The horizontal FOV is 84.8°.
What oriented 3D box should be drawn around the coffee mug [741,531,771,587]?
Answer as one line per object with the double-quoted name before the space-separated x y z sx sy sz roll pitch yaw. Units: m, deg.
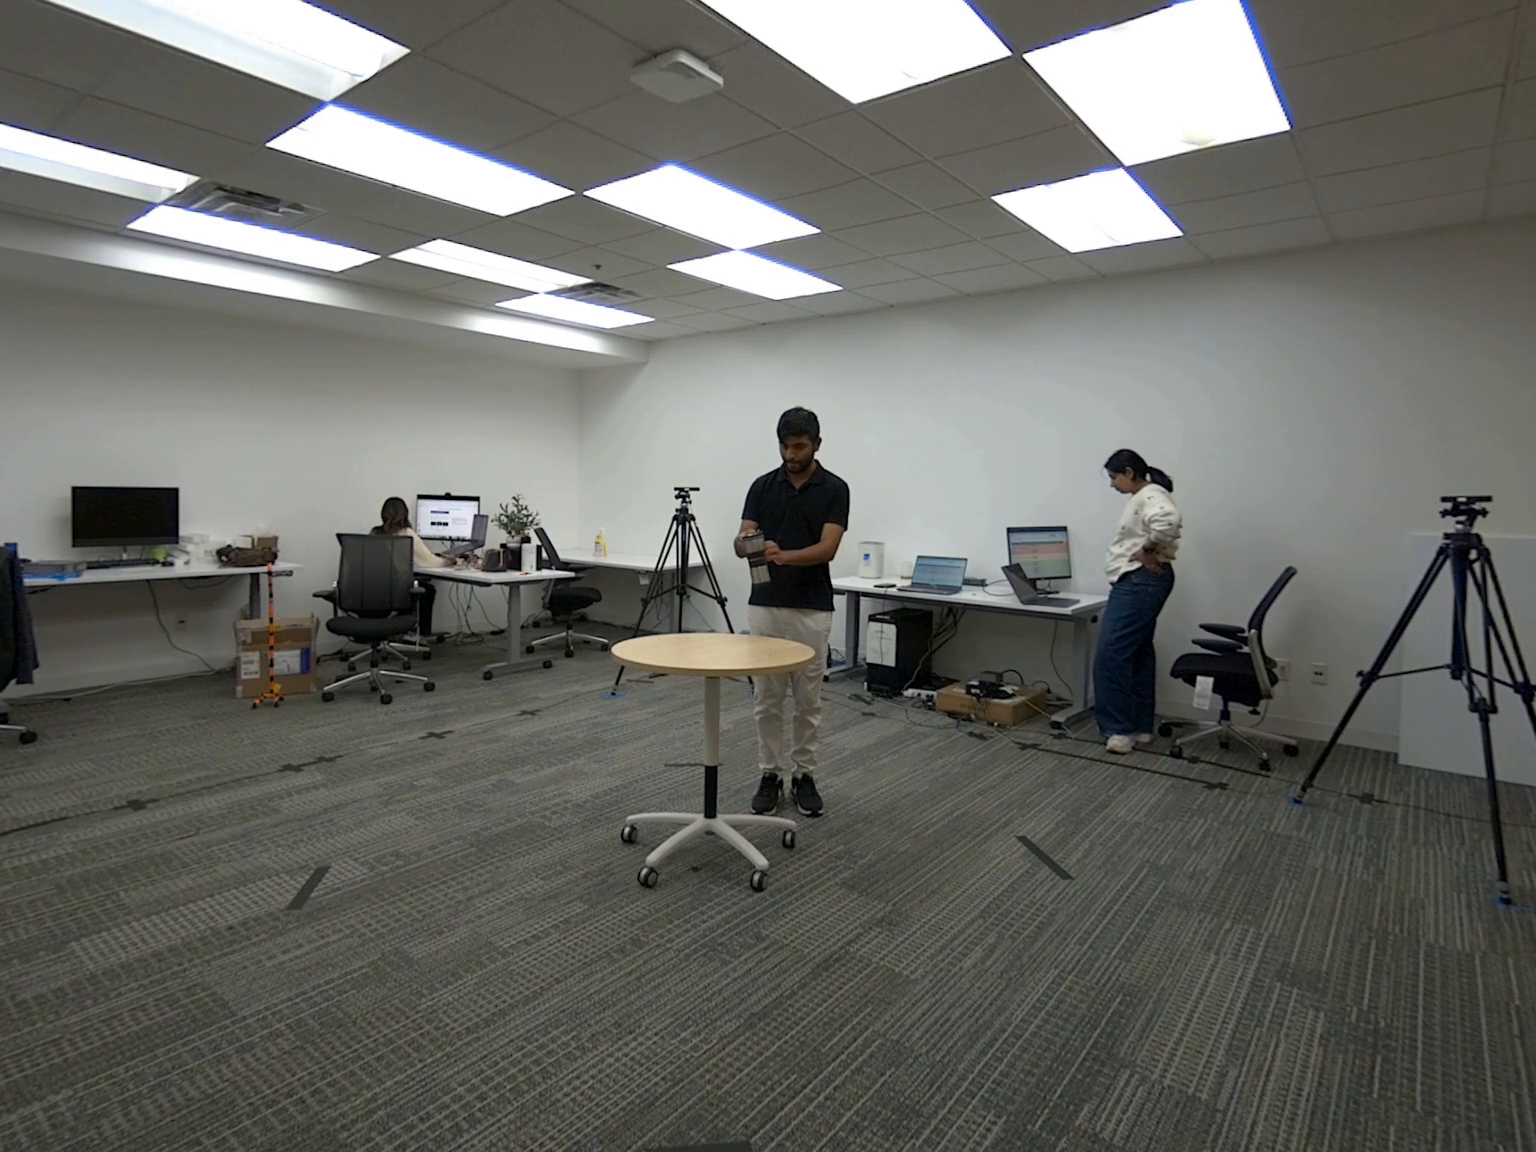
"coffee mug" -0.045 -0.066 3.306 0.090 0.202 0.119 -10 4 34
